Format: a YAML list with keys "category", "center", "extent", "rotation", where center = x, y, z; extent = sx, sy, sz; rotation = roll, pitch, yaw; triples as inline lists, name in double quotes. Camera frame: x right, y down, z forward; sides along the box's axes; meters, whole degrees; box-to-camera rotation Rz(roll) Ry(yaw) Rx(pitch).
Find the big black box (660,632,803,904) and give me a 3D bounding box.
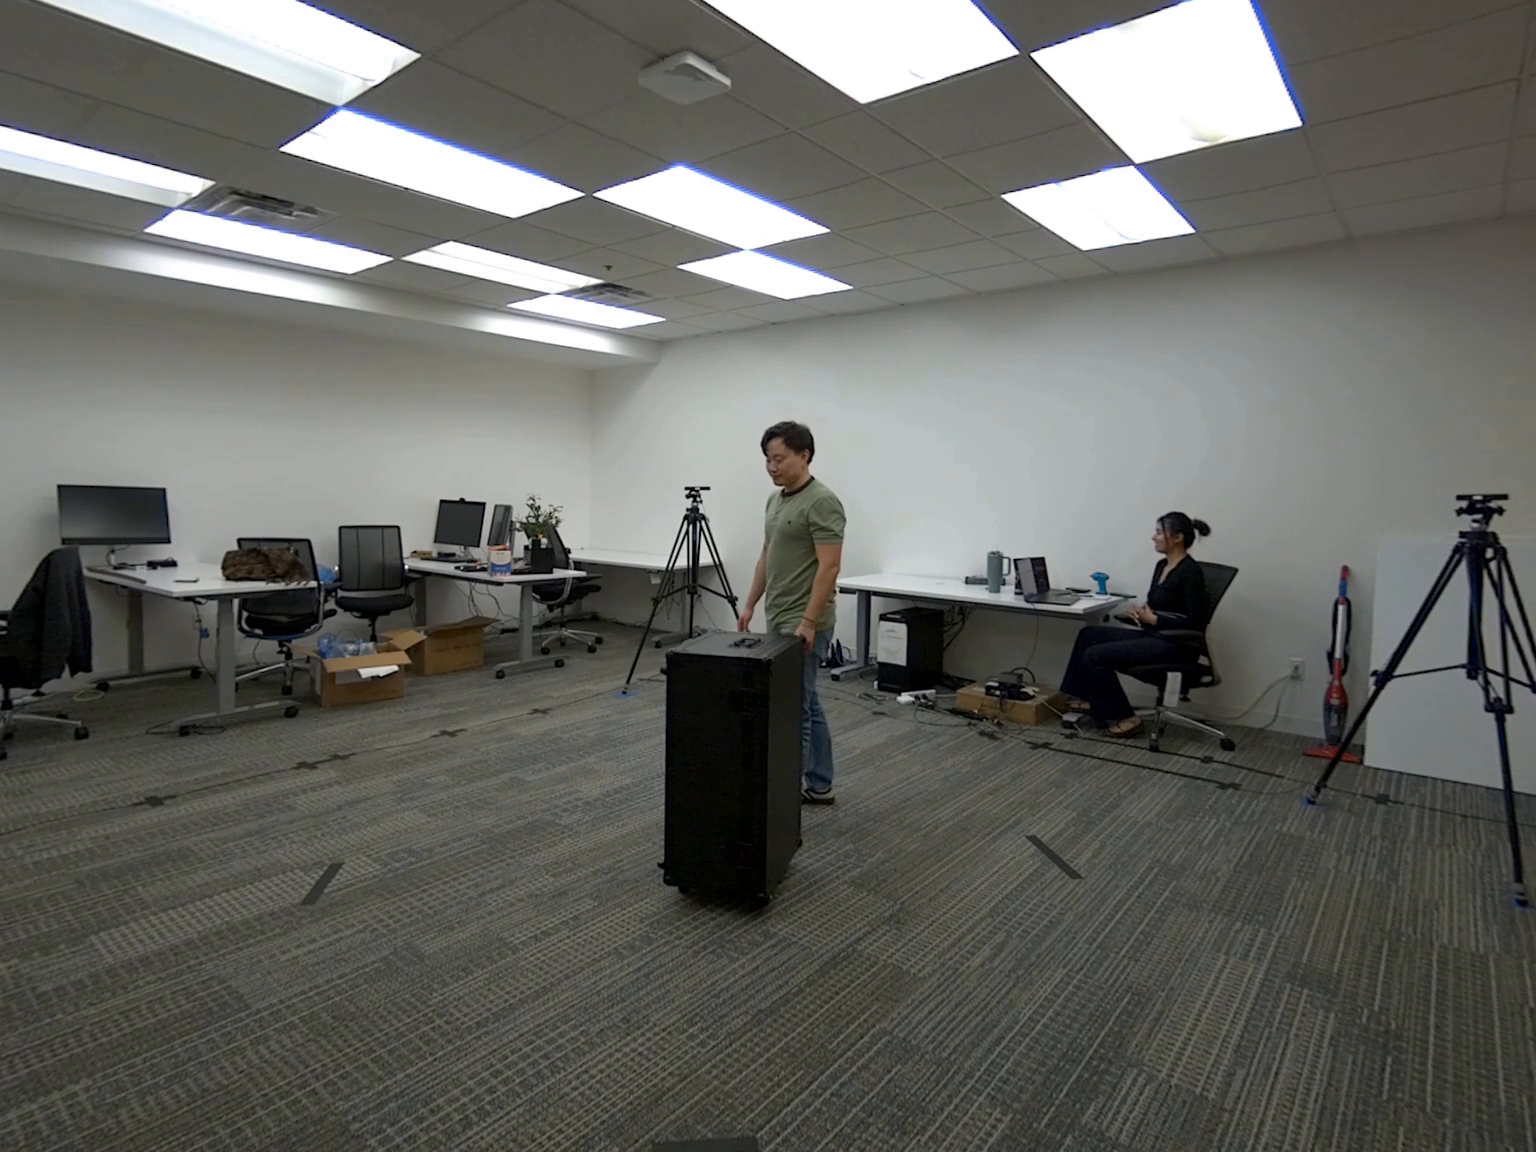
- category: "big black box"
  center: [-0.132, 0.656, 2.964]
  extent: [0.404, 0.859, 0.513]
  rotation: [1, 3, 18]
